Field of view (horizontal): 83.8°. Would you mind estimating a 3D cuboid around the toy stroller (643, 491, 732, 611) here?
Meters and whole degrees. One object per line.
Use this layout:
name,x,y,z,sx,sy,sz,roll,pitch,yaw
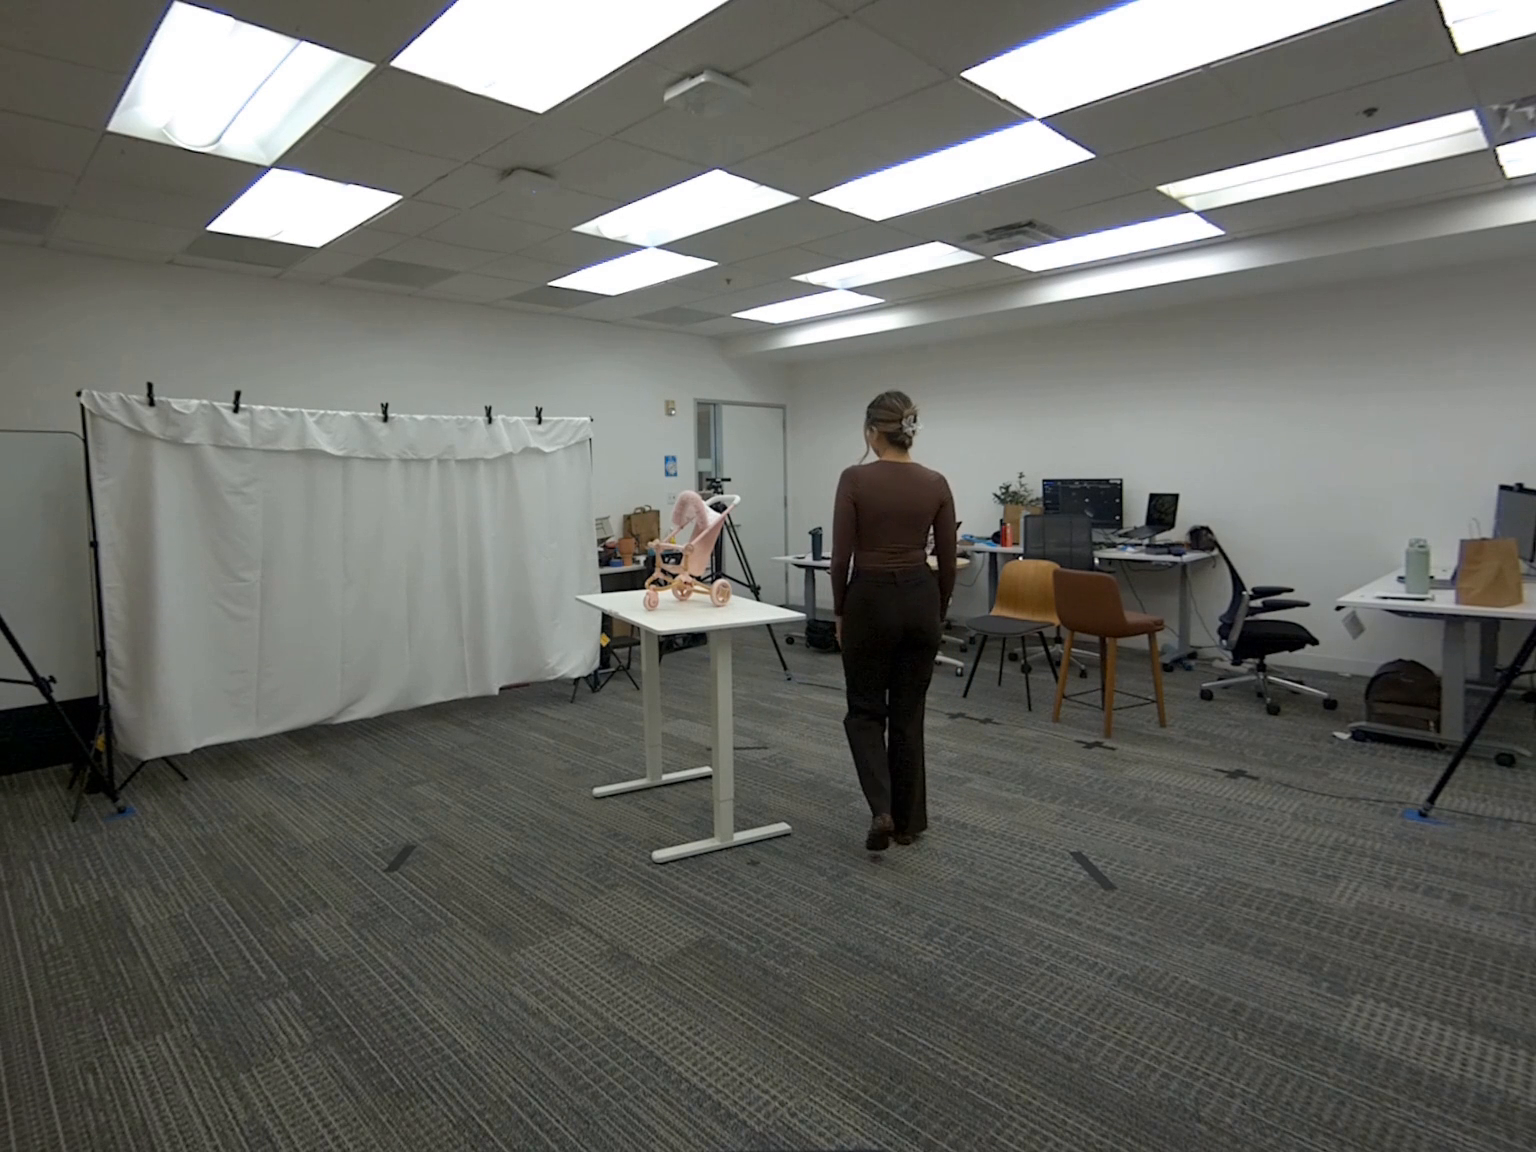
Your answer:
toy stroller,-0.329,-0.105,3.490,0.330,0.537,0.290,13,-5,-37
